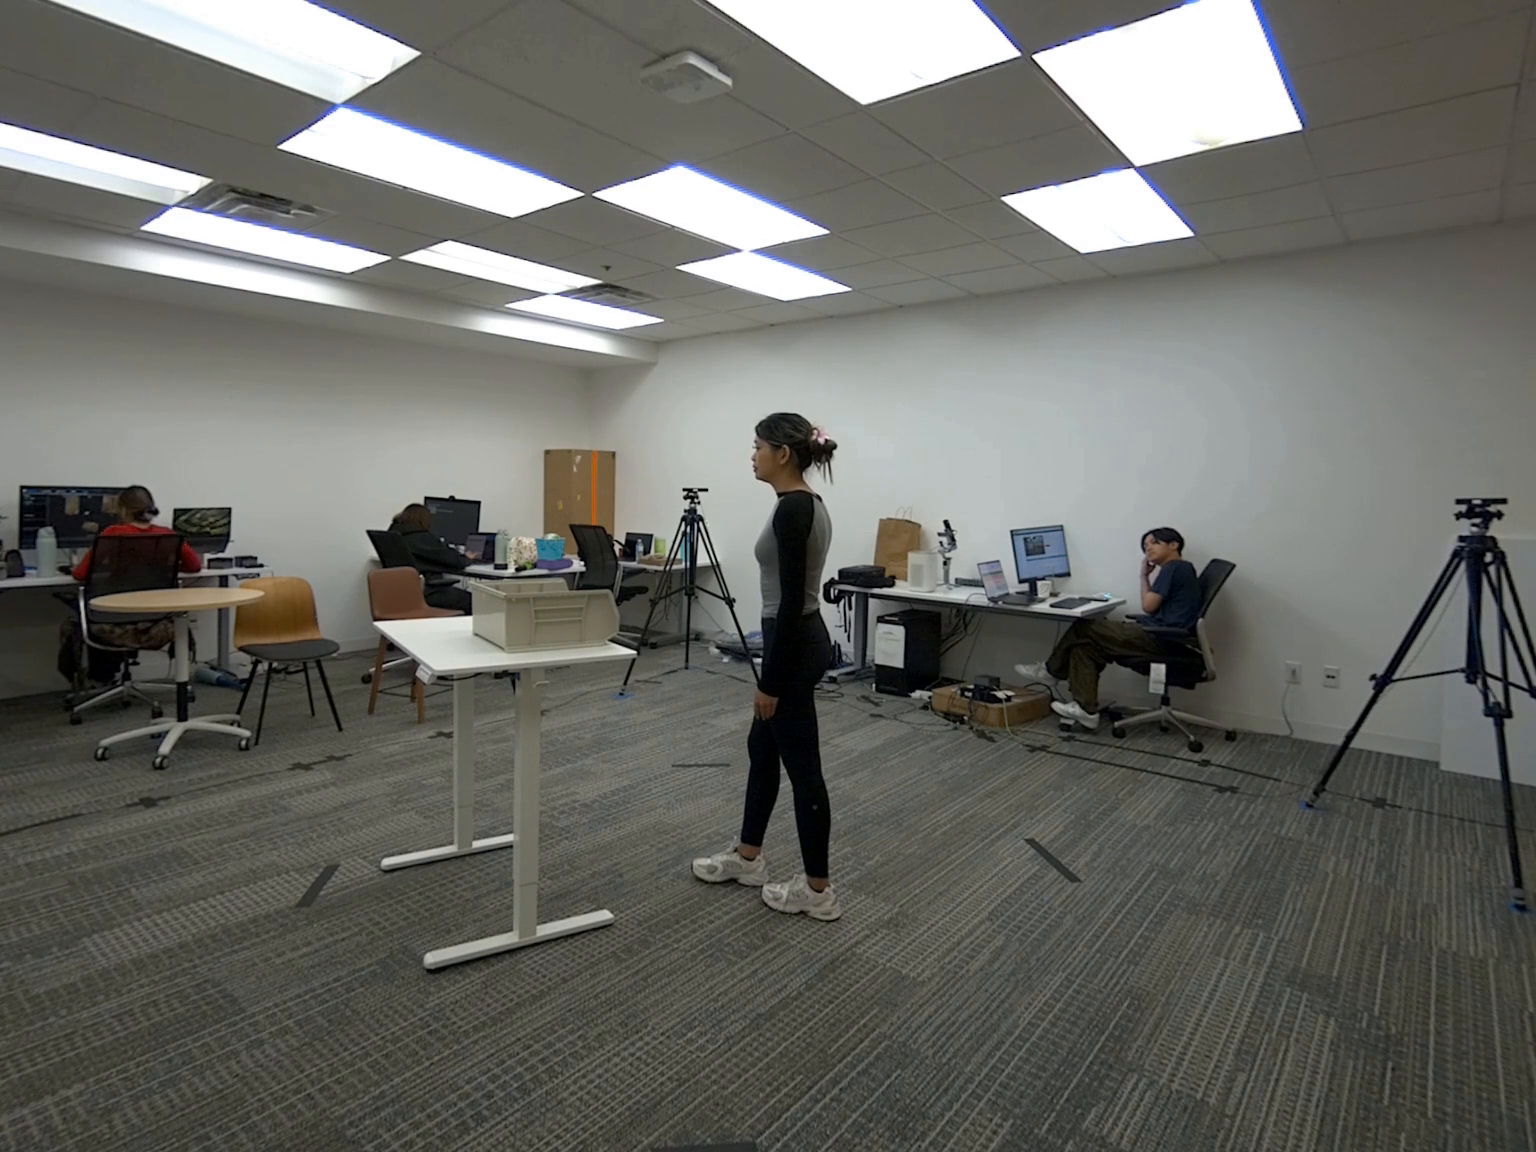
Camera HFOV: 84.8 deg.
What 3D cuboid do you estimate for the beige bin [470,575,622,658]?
[{"bbox_3d":[-0.749,0.121,2.799,0.367,0.188,0.436,-3,7,-32],"label":"beige bin"}]
